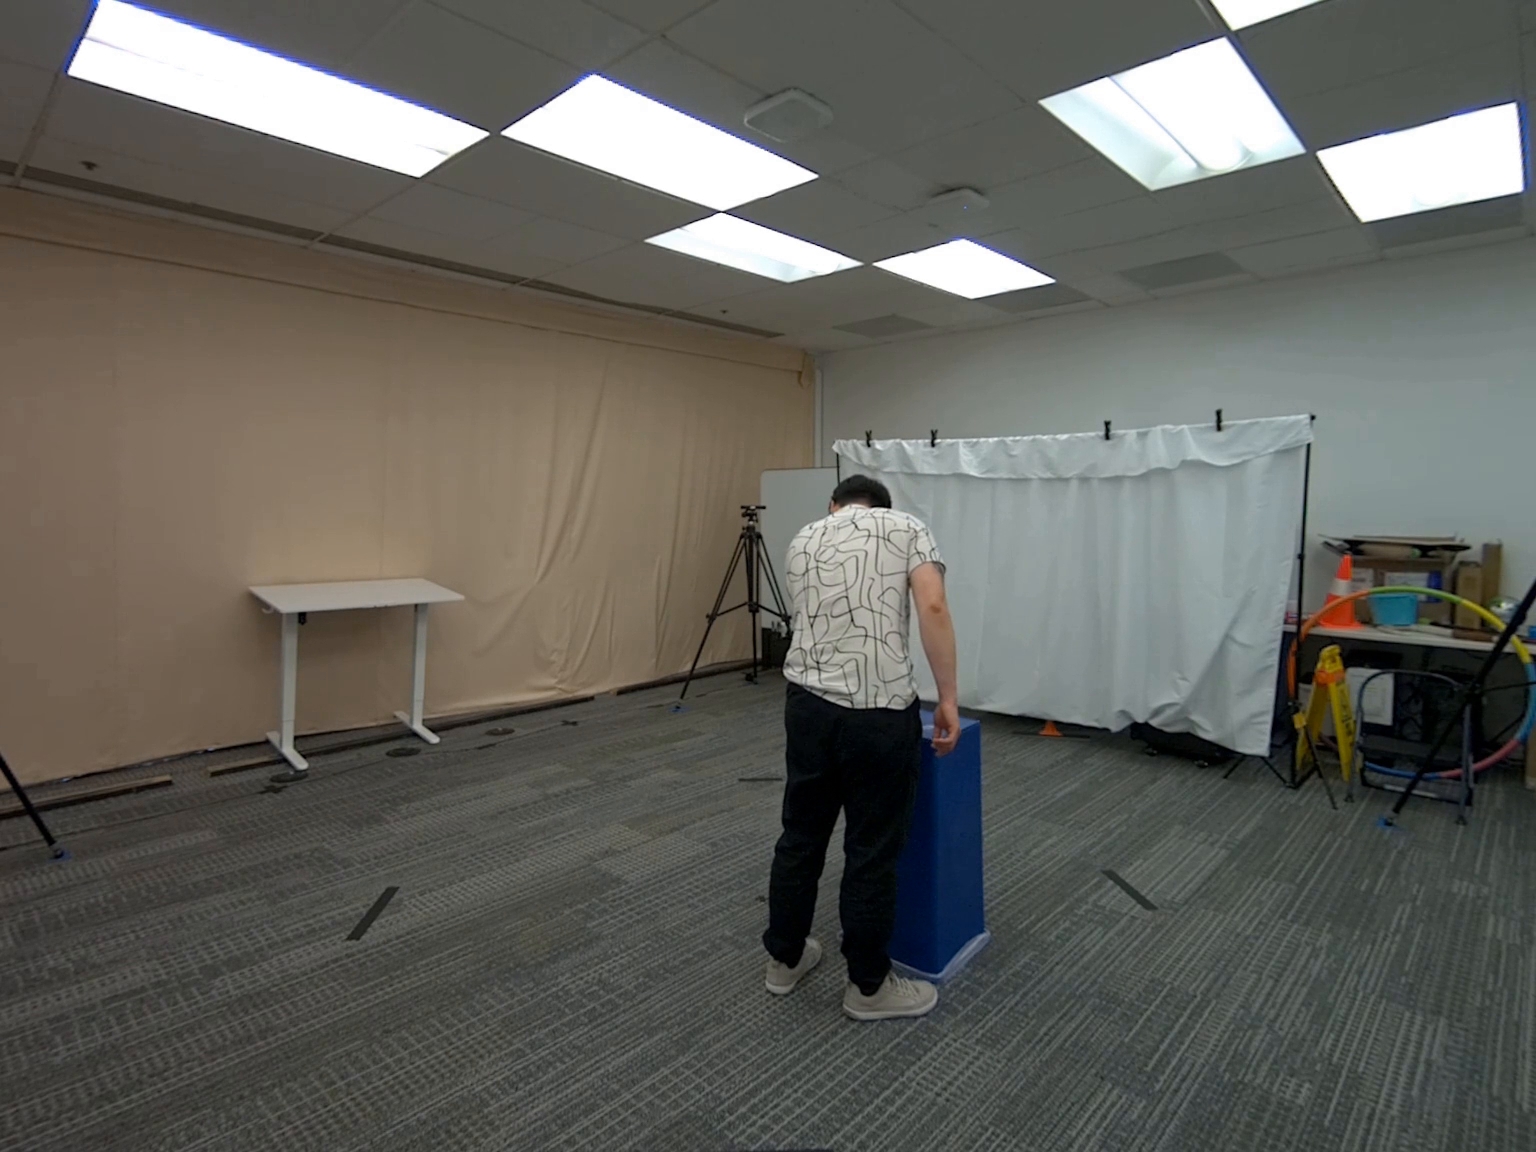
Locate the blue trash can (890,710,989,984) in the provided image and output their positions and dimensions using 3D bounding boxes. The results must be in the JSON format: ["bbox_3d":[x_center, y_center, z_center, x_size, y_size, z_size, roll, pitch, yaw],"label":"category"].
[{"bbox_3d":[0.479,0.816,2.665,0.386,0.711,0.367,5,6,40],"label":"blue trash can"}]
